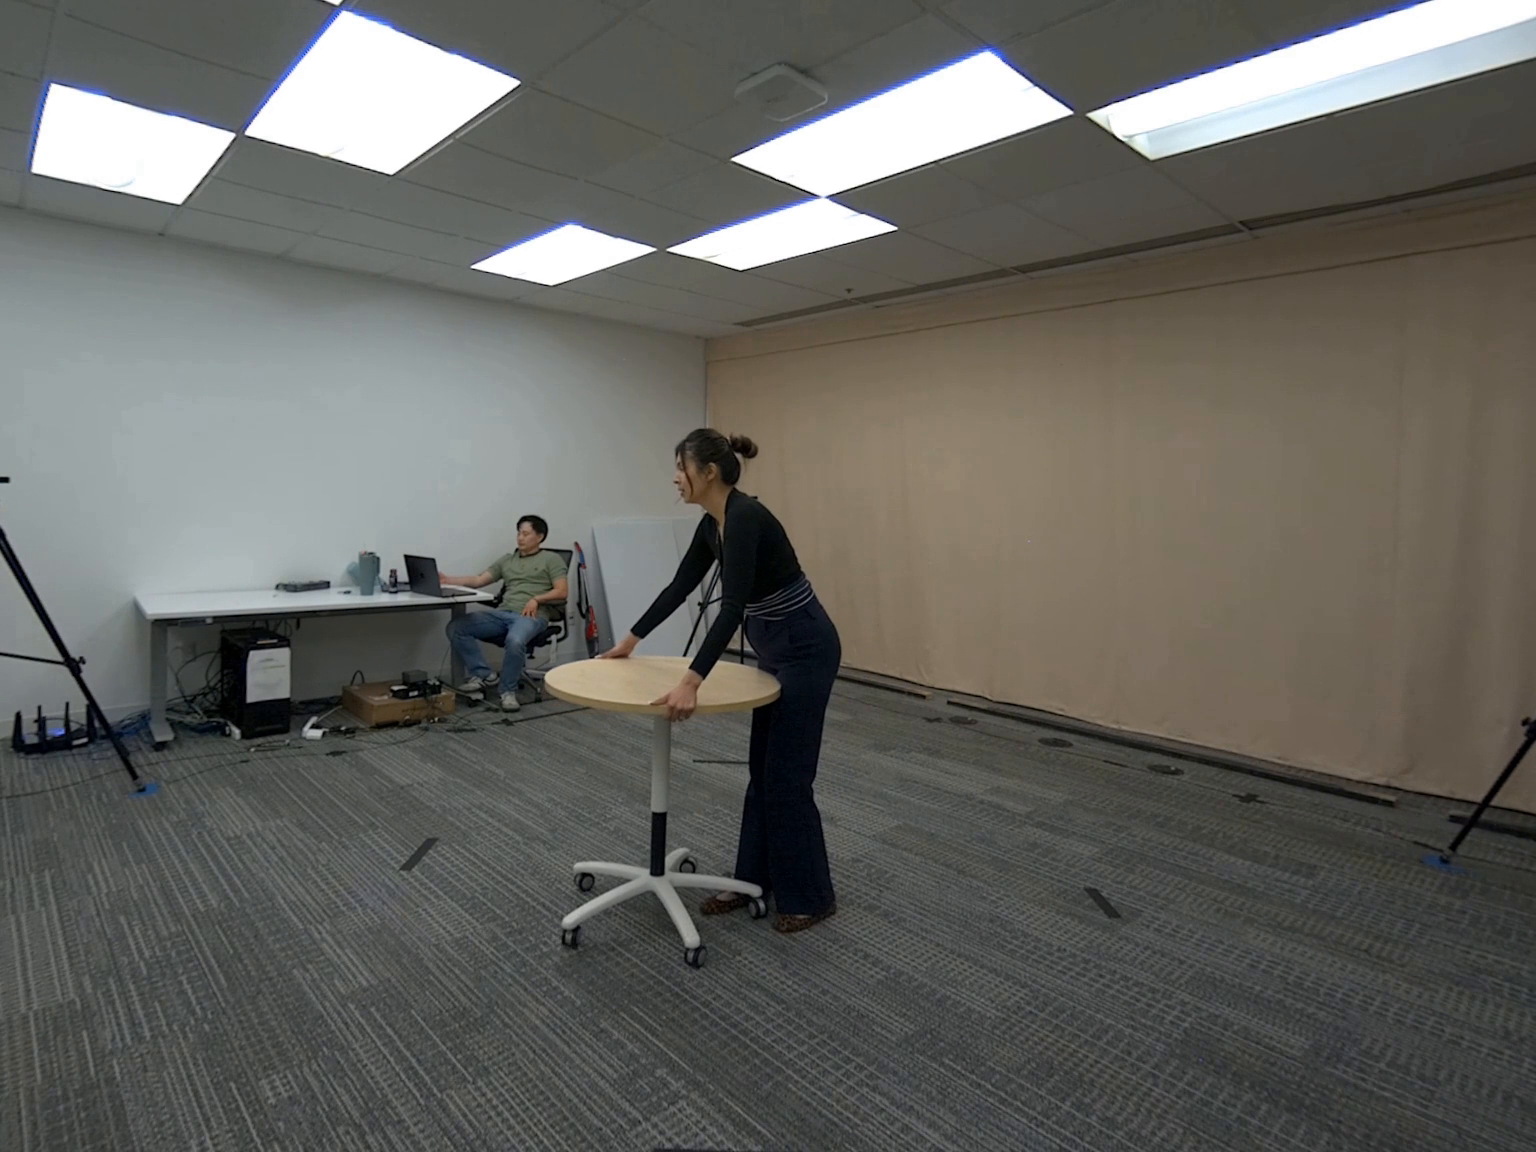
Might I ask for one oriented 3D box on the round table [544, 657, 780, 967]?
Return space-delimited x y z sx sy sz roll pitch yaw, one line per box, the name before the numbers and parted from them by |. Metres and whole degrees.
round table | -0.364 0.731 2.757 0.763 0.792 0.766 2 4 -2
